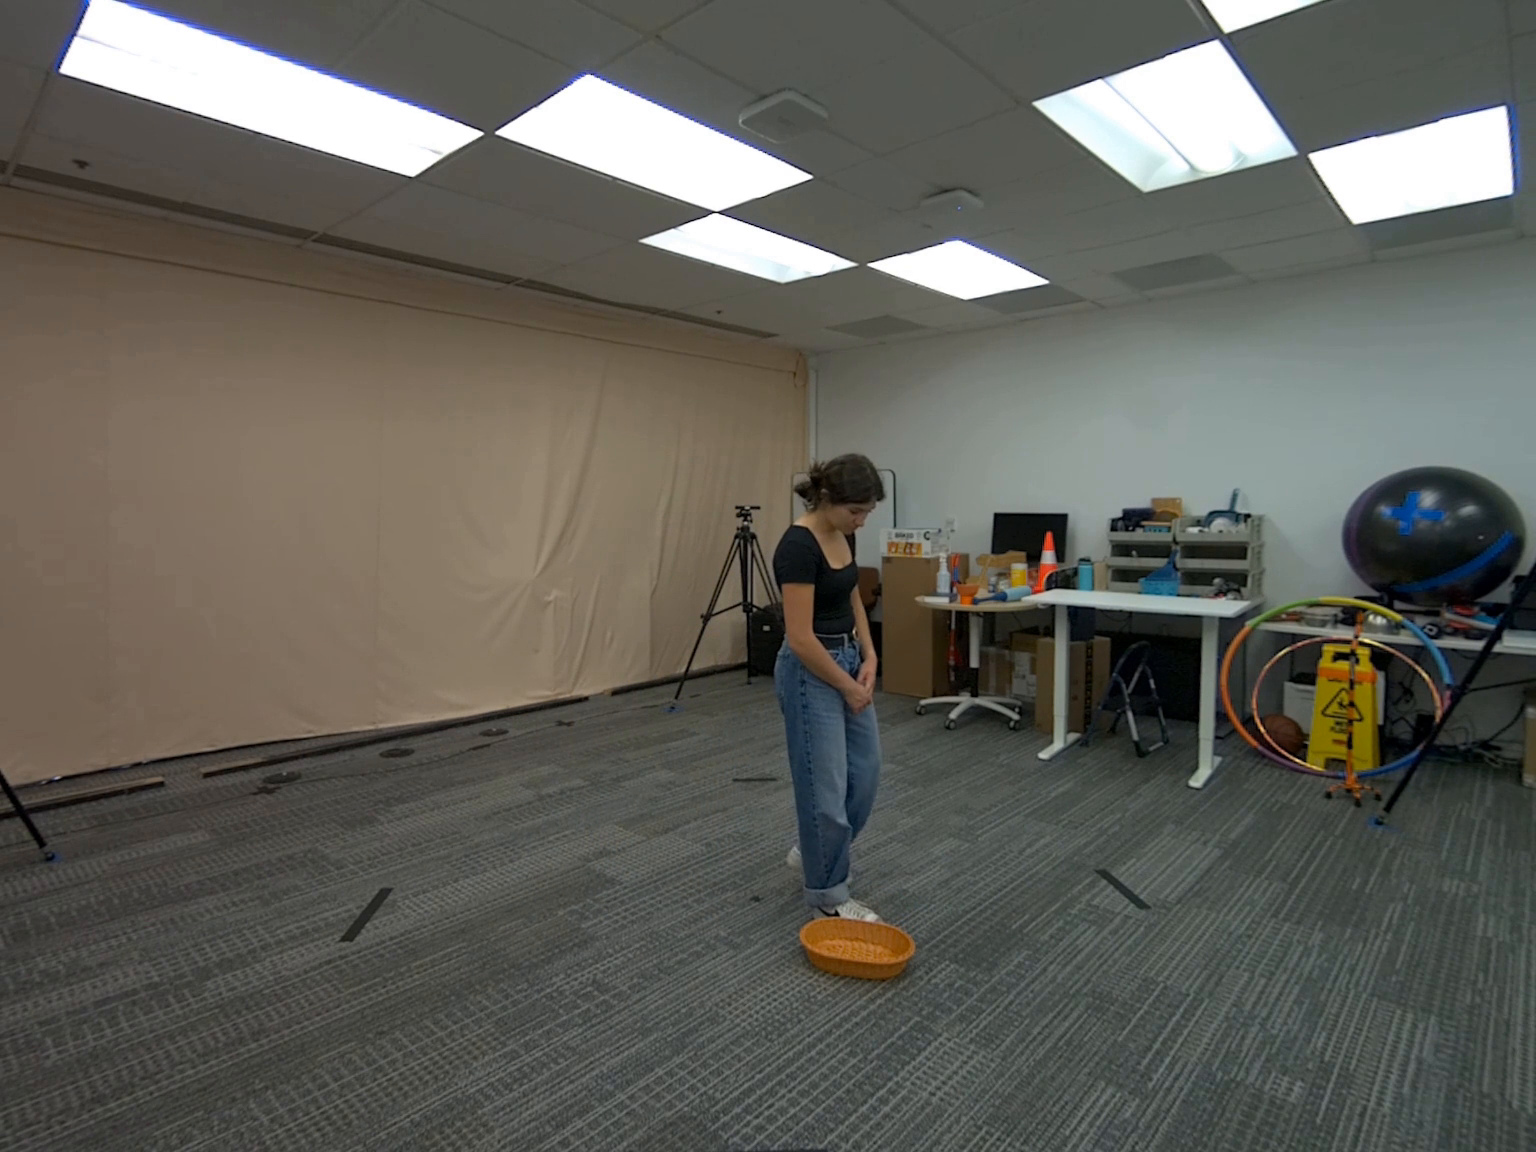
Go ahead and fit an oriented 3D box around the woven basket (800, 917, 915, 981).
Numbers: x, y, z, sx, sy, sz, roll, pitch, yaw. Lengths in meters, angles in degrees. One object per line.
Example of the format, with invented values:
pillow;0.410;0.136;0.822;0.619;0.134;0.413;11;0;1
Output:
woven basket;0.270;1.134;2.577;0.357;0.073;0.248;1;5;18
